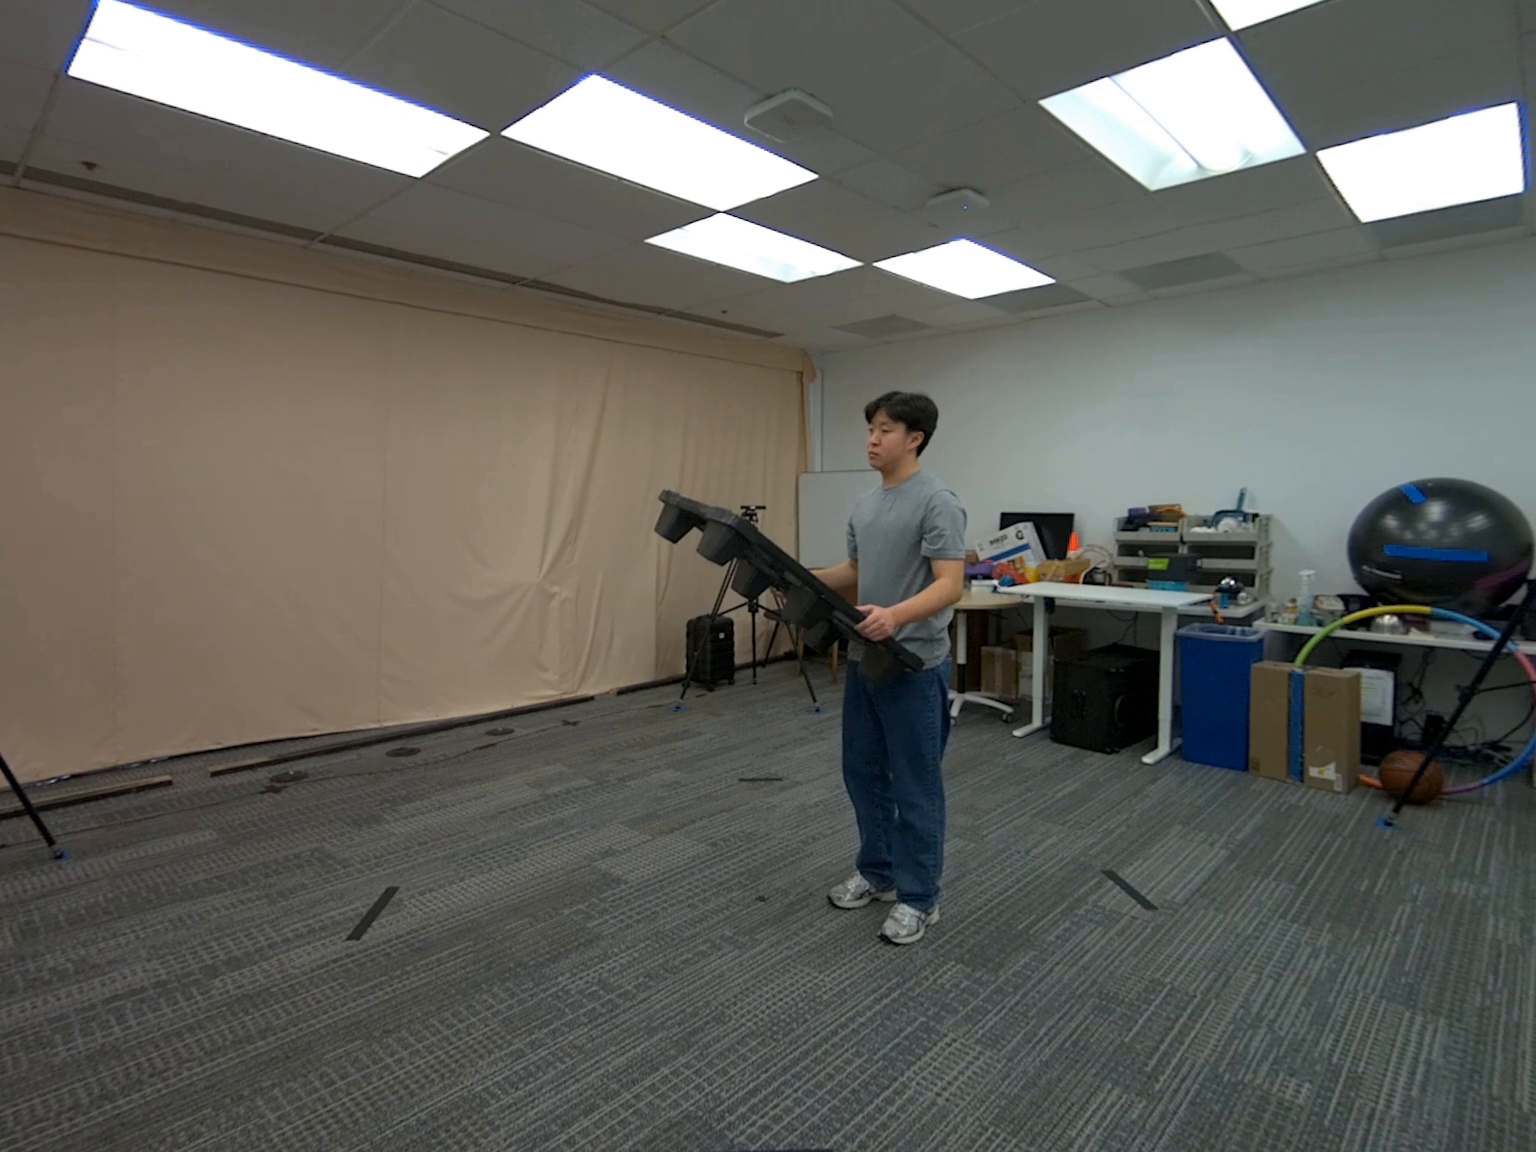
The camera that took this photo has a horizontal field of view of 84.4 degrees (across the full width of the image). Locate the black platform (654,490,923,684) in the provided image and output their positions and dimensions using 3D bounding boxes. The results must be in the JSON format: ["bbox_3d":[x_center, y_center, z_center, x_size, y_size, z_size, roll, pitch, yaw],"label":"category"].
[{"bbox_3d":[0.029,0.046,2.613,0.784,0.143,0.622,38,-7,-25],"label":"black platform"}]
